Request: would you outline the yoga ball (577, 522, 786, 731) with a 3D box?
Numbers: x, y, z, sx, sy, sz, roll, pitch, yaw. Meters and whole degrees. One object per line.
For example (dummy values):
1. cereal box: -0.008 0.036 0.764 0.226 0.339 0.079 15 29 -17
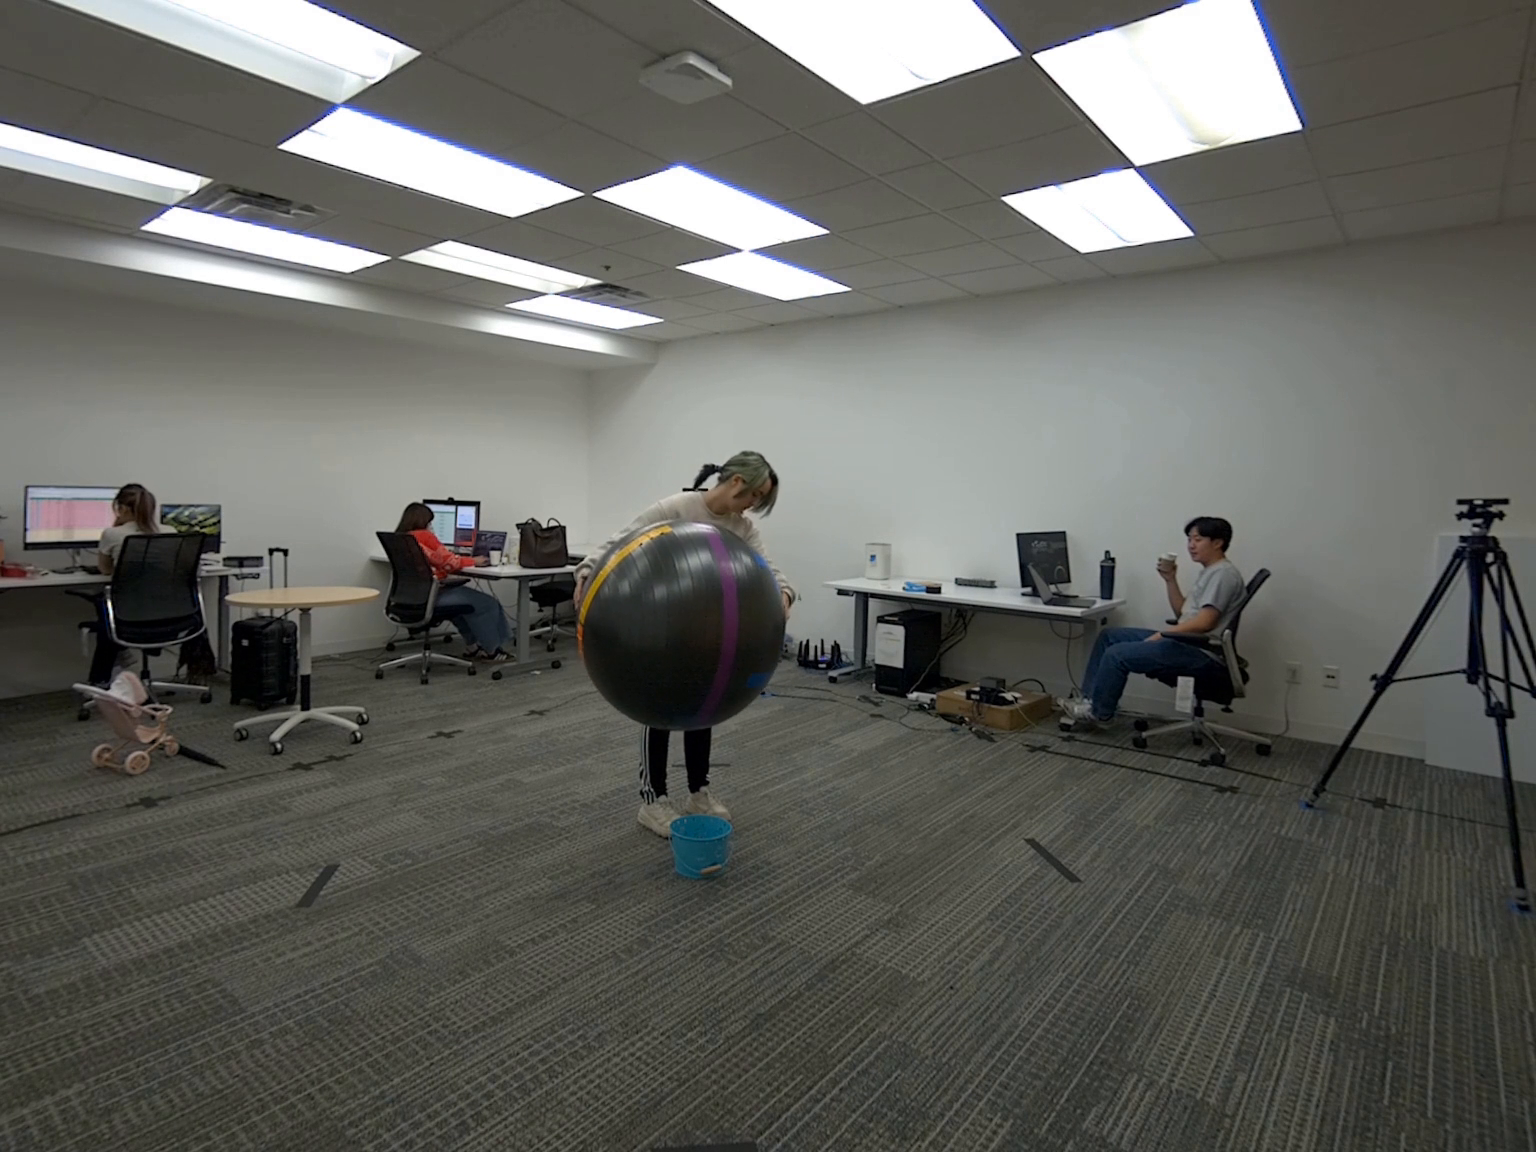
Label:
1. yoga ball: -0.329 0.176 3.074 0.757 0.756 0.762 1 4 -2
